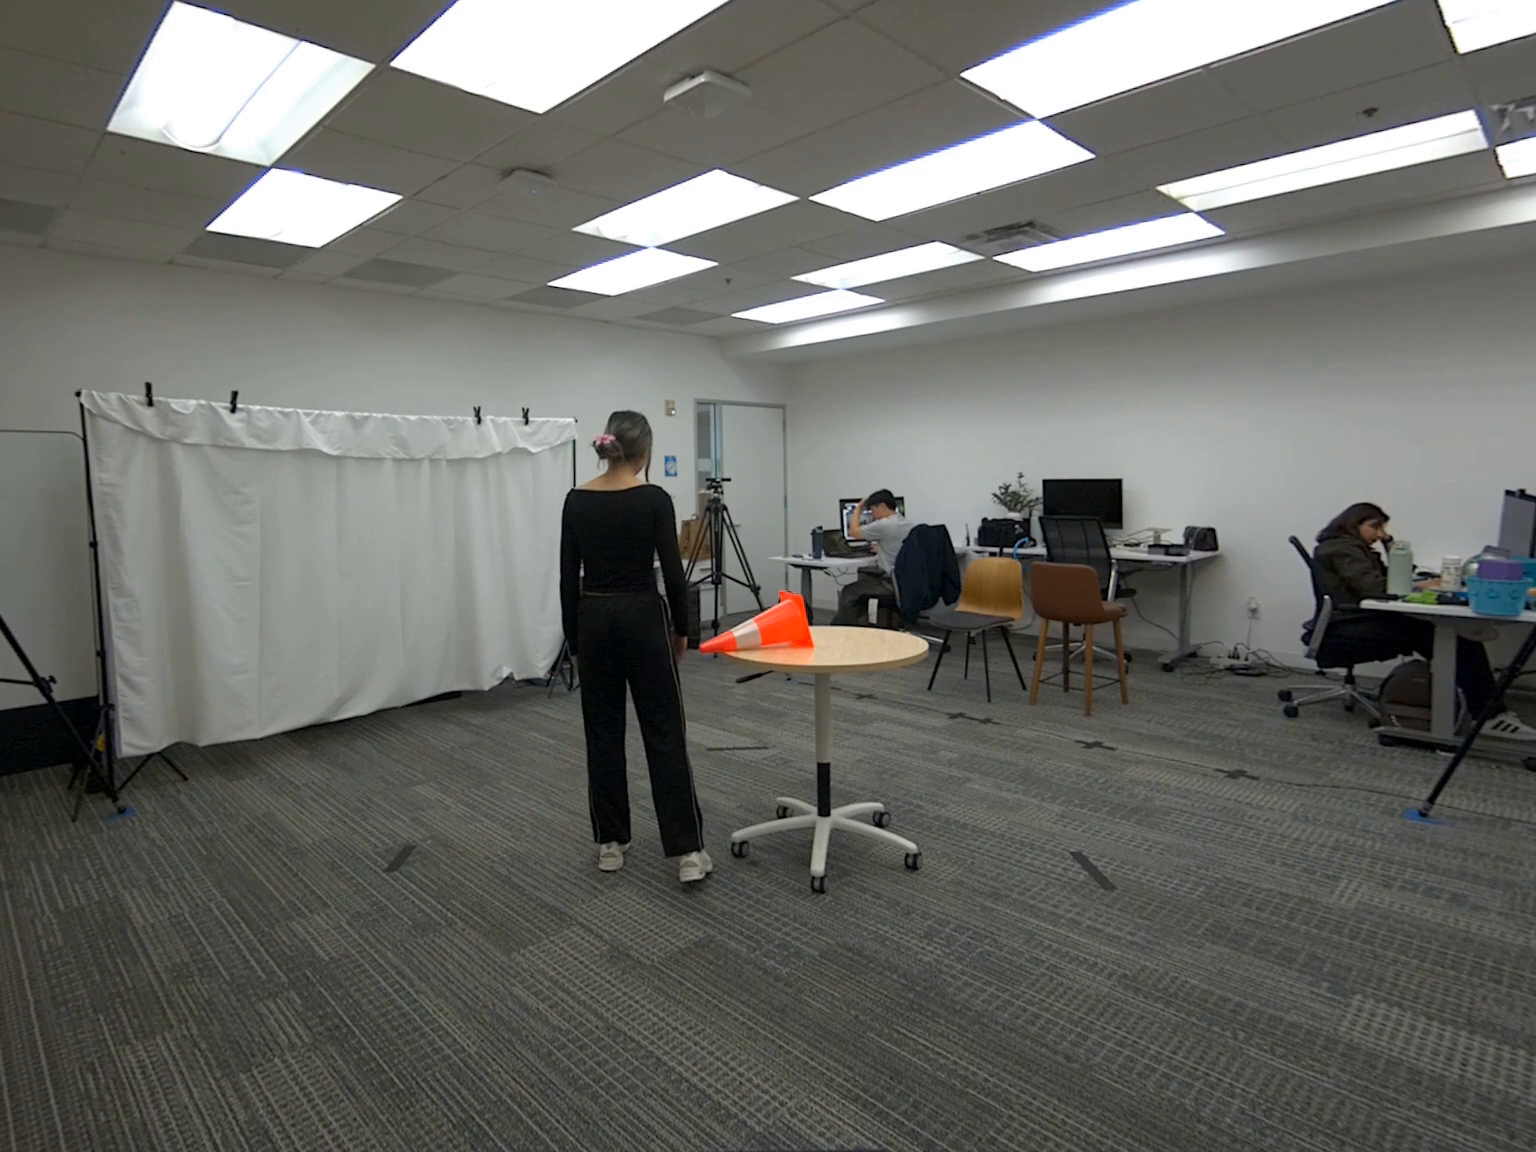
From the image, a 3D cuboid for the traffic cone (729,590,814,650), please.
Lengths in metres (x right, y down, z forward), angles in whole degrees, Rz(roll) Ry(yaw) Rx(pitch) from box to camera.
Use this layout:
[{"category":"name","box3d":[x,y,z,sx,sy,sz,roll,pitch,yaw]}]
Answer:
[{"category":"traffic cone","box3d":[-0.068,0.210,3.065,0.379,0.202,0.209,-16,7,-17]}]
